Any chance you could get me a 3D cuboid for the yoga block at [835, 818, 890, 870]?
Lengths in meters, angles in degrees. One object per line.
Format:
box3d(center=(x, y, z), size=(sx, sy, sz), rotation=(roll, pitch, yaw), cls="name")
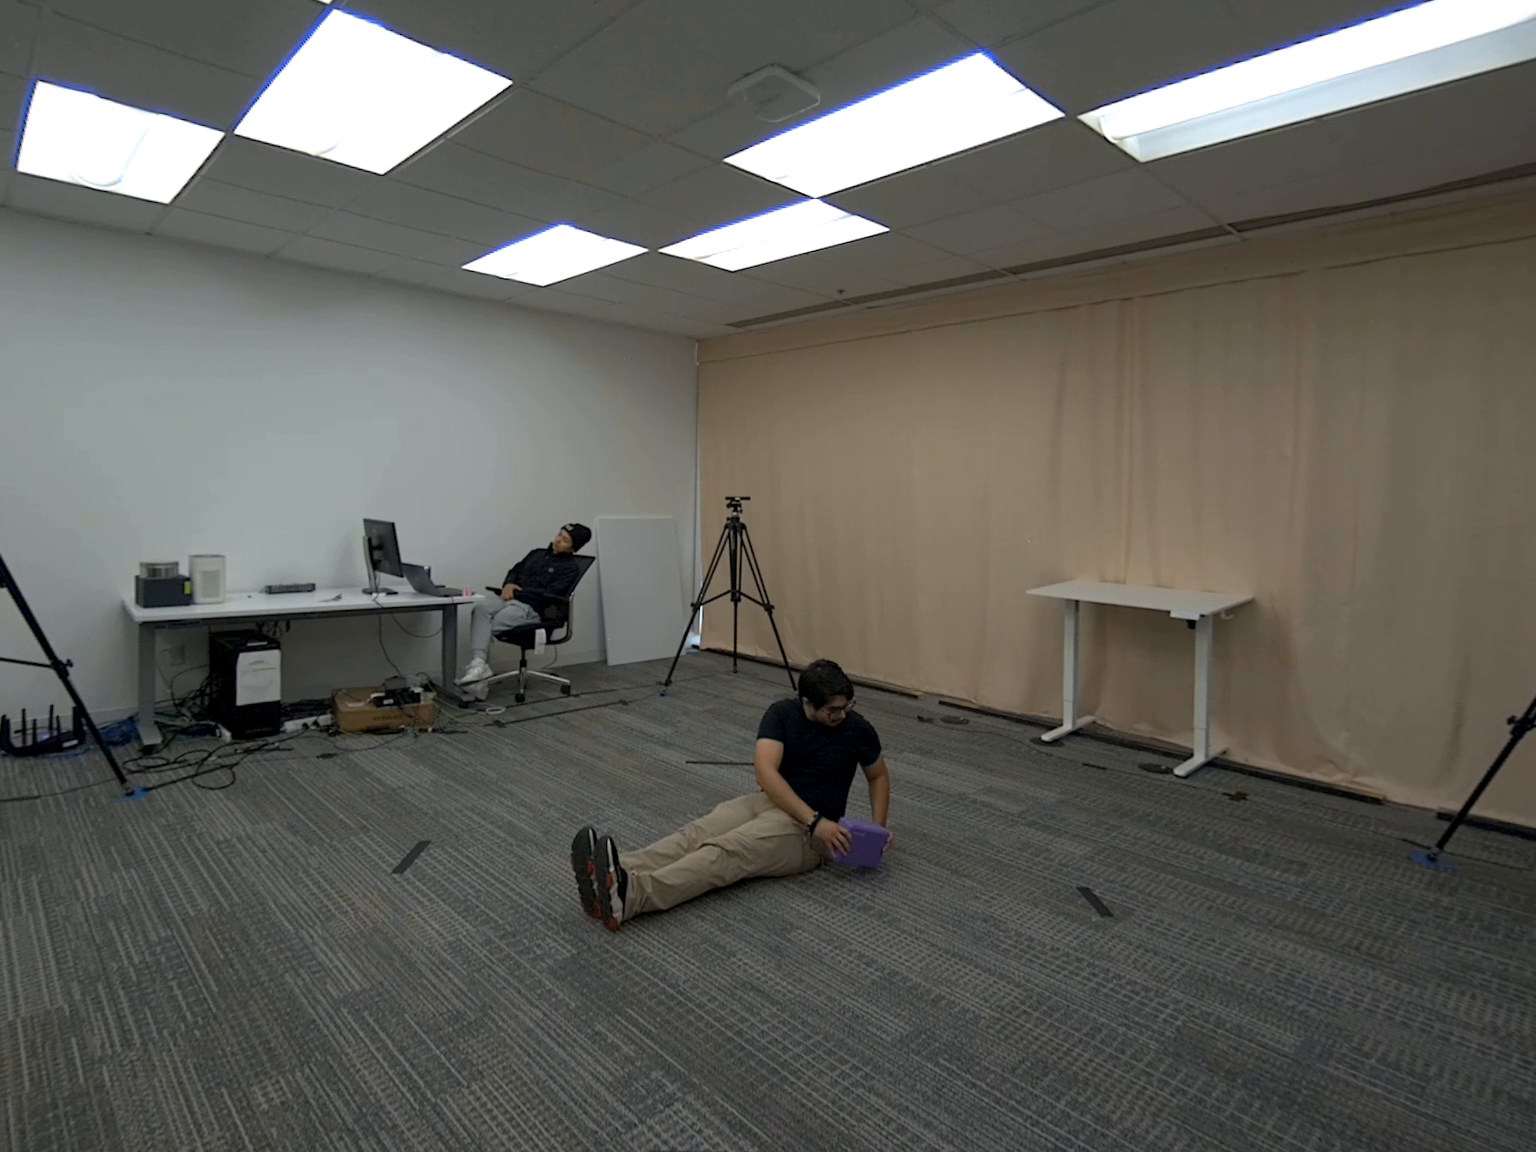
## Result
box3d(center=(0.330, 0.997, 3.127), size=(0.225, 0.149, 0.078), rotation=(17, 4, -22), cls="yoga block")
